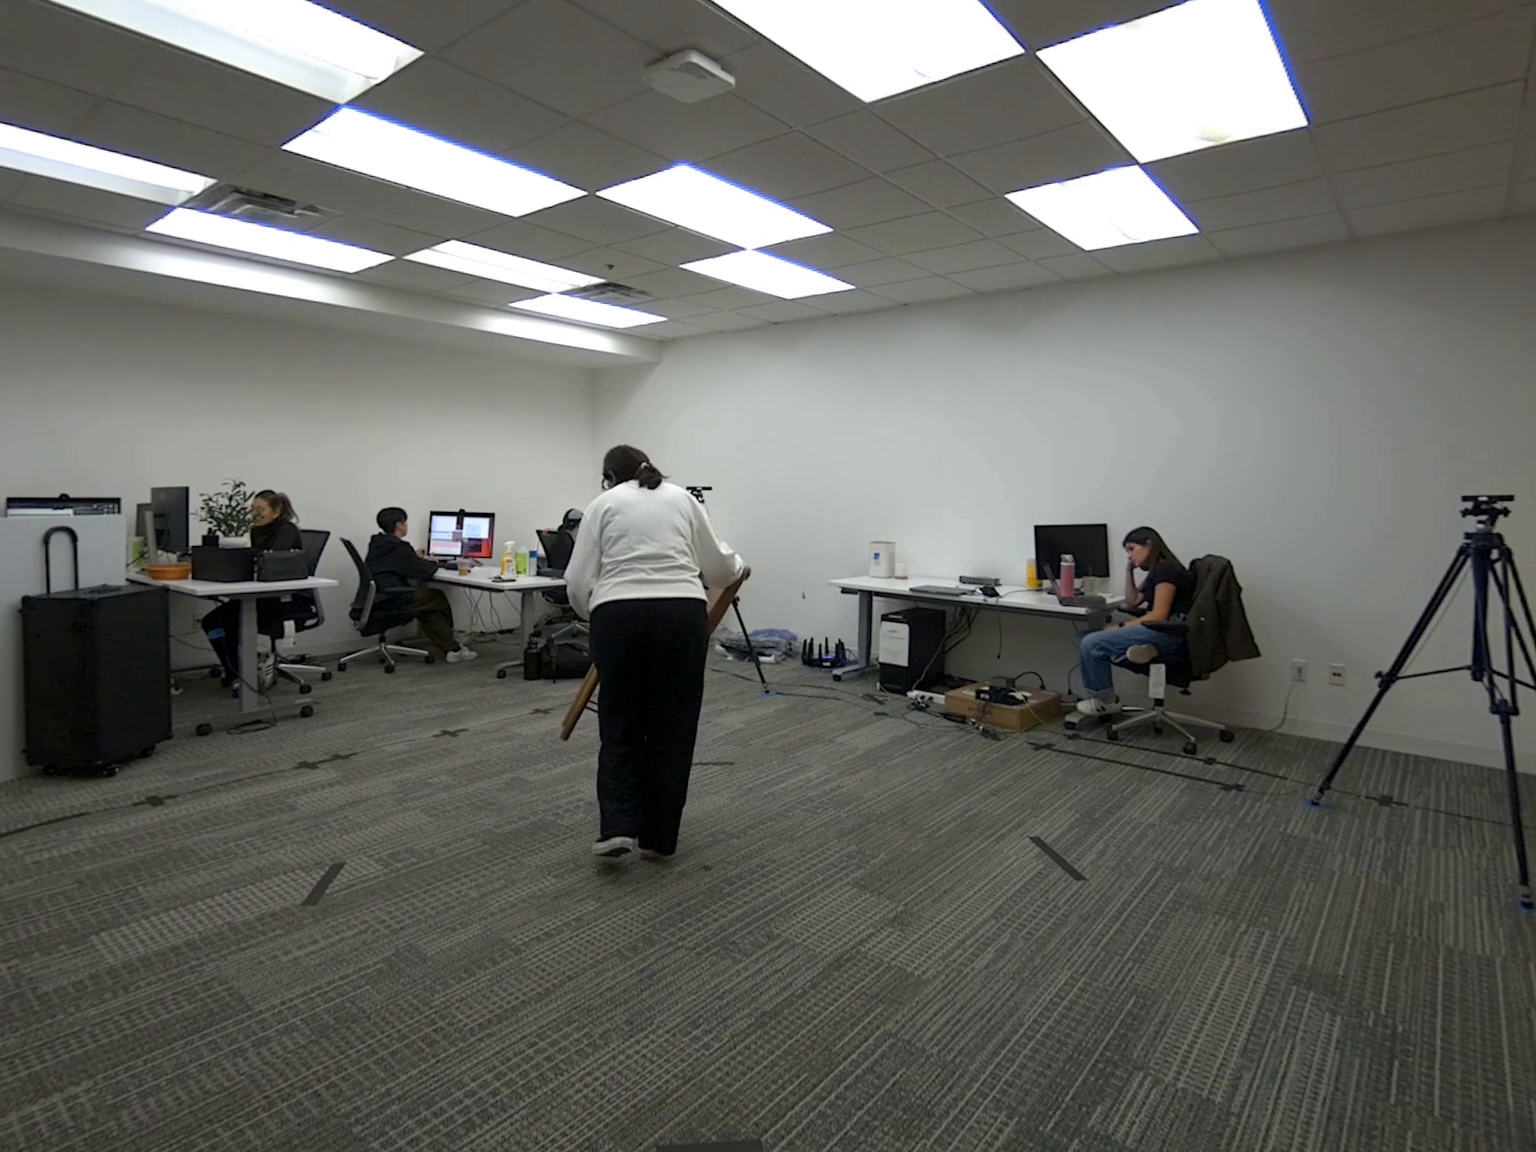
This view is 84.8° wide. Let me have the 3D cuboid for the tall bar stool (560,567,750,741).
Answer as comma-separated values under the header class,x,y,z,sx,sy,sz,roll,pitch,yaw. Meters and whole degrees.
class,x,y,z,sx,sy,sz,roll,pitch,yaw
tall bar stool,-0.479,0.313,3.546,0.463,0.893,0.459,23,-7,-8
